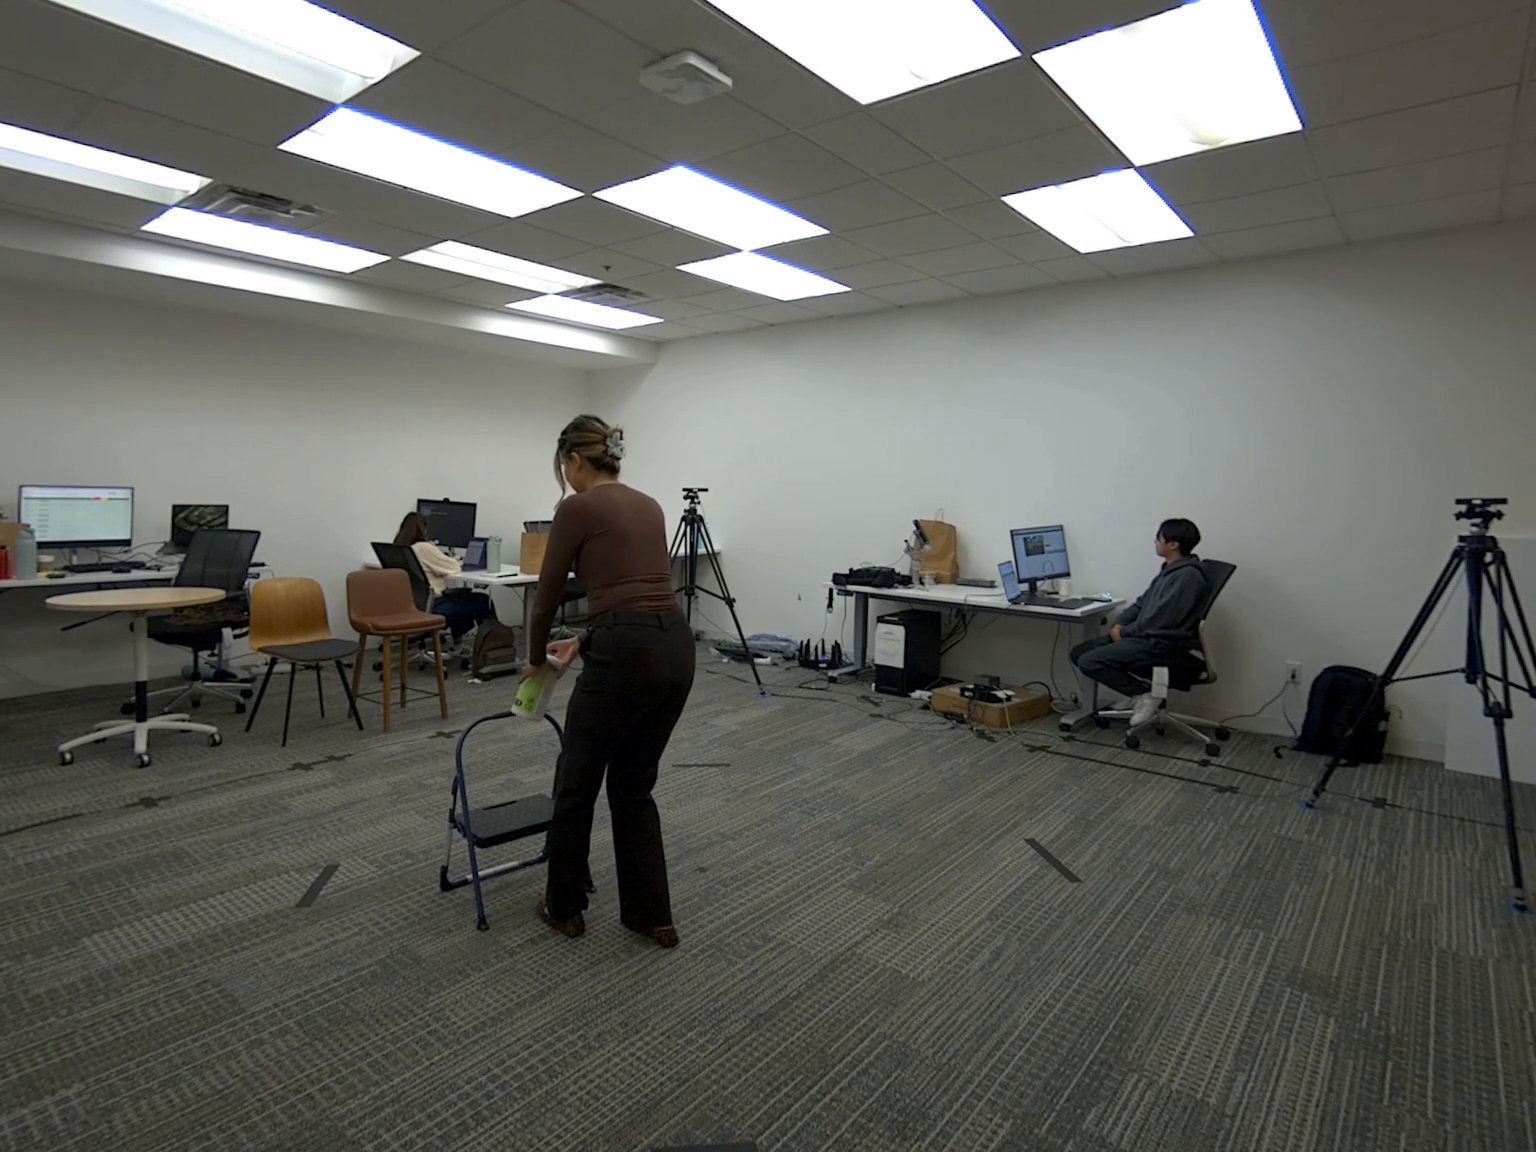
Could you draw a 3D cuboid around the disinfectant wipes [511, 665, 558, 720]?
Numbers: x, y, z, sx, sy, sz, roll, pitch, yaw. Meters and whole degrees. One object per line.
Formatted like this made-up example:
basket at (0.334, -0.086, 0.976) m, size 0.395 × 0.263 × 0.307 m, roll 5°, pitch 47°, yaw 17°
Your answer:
disinfectant wipes at (-0.786, 0.365, 2.842) m, size 0.118 × 0.218 × 0.117 m, roll 19°, pitch -6°, yaw 0°
